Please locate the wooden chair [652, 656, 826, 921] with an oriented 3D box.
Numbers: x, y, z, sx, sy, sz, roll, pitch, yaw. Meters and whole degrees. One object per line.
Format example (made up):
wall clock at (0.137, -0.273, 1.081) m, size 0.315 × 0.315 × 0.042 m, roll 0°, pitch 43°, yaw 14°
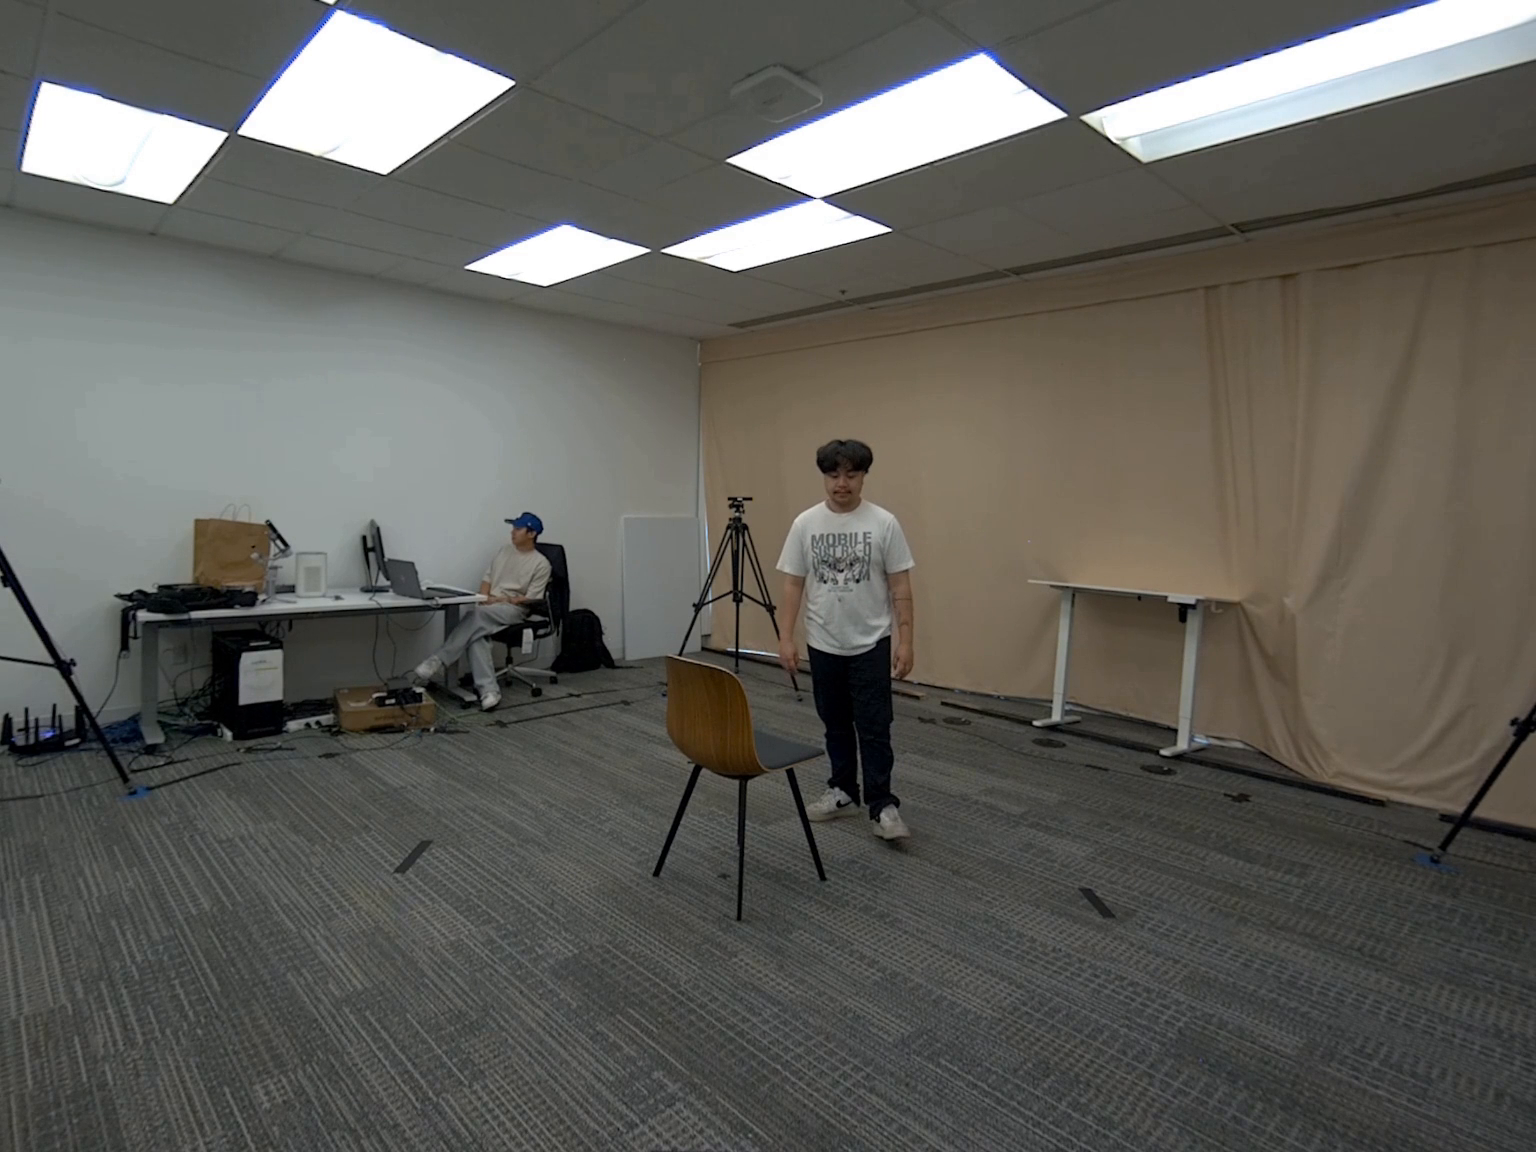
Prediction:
wooden chair at (-0.093, 0.684, 3.061) m, size 0.490 × 0.873 × 0.512 m, roll 4°, pitch 9°, yaw 44°
